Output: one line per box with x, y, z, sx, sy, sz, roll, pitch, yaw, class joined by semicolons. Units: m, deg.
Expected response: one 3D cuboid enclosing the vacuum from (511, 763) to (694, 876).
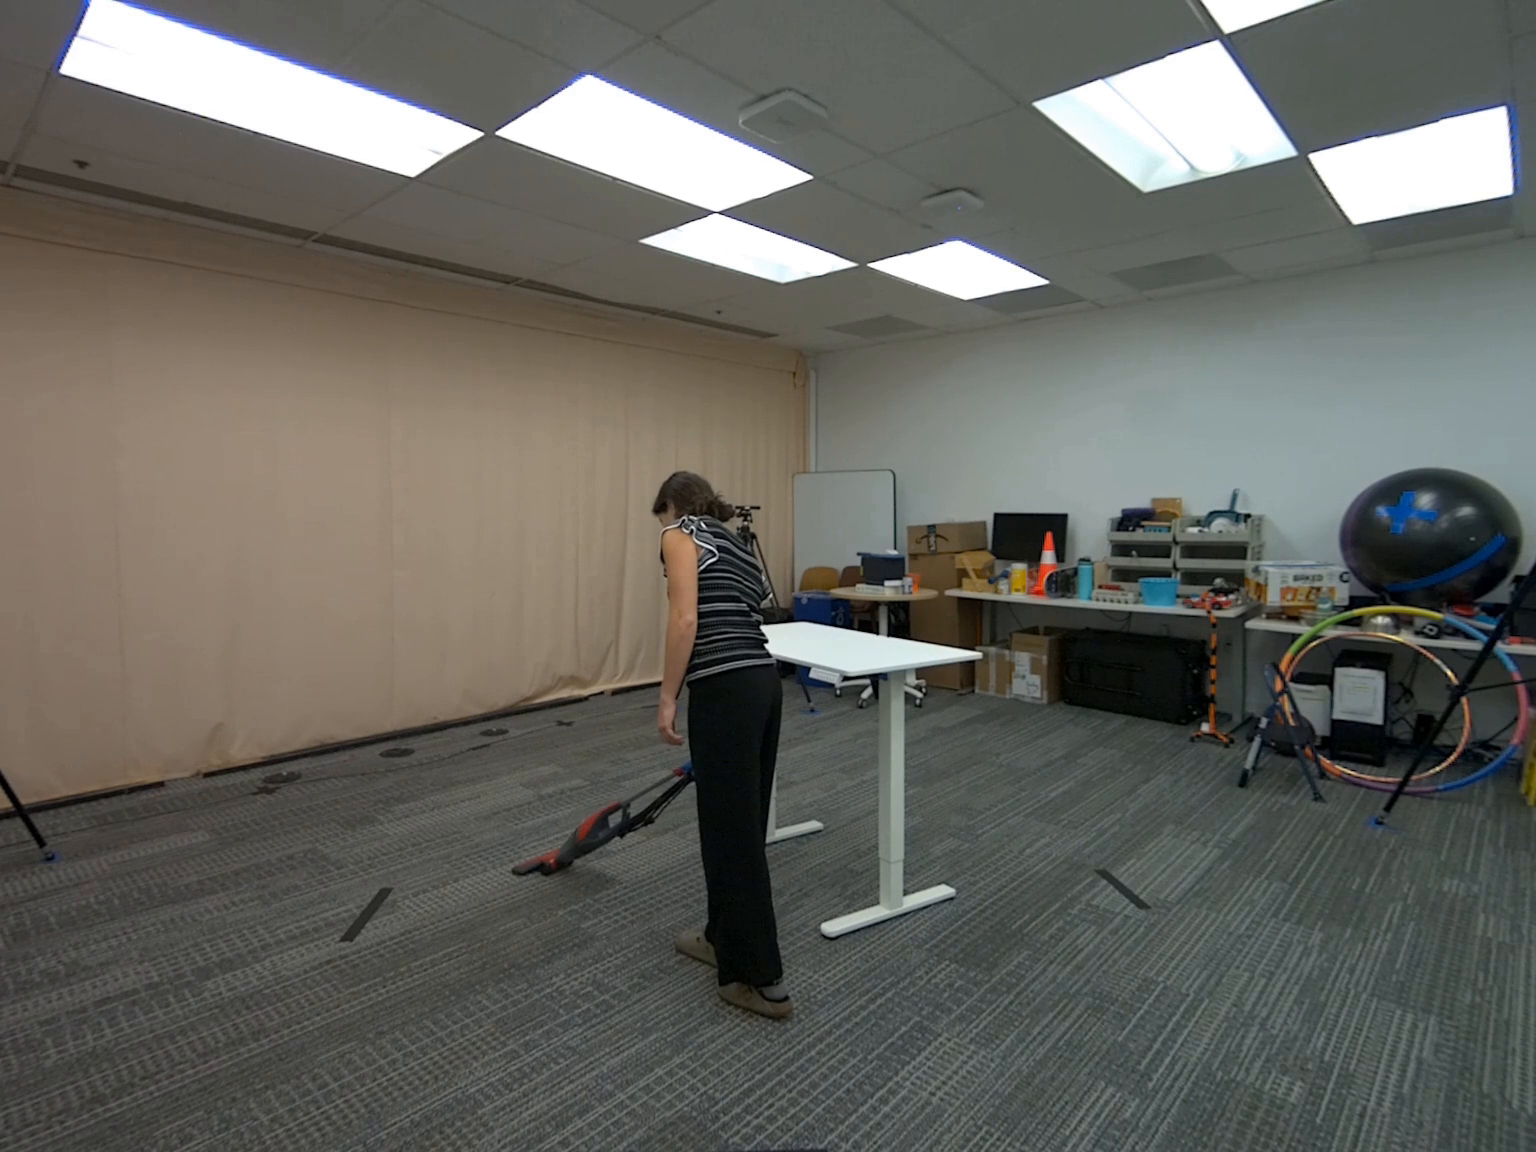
-0.512;0.855;2.988;1.063;0.146;0.246;-36;-13;33;vacuum
